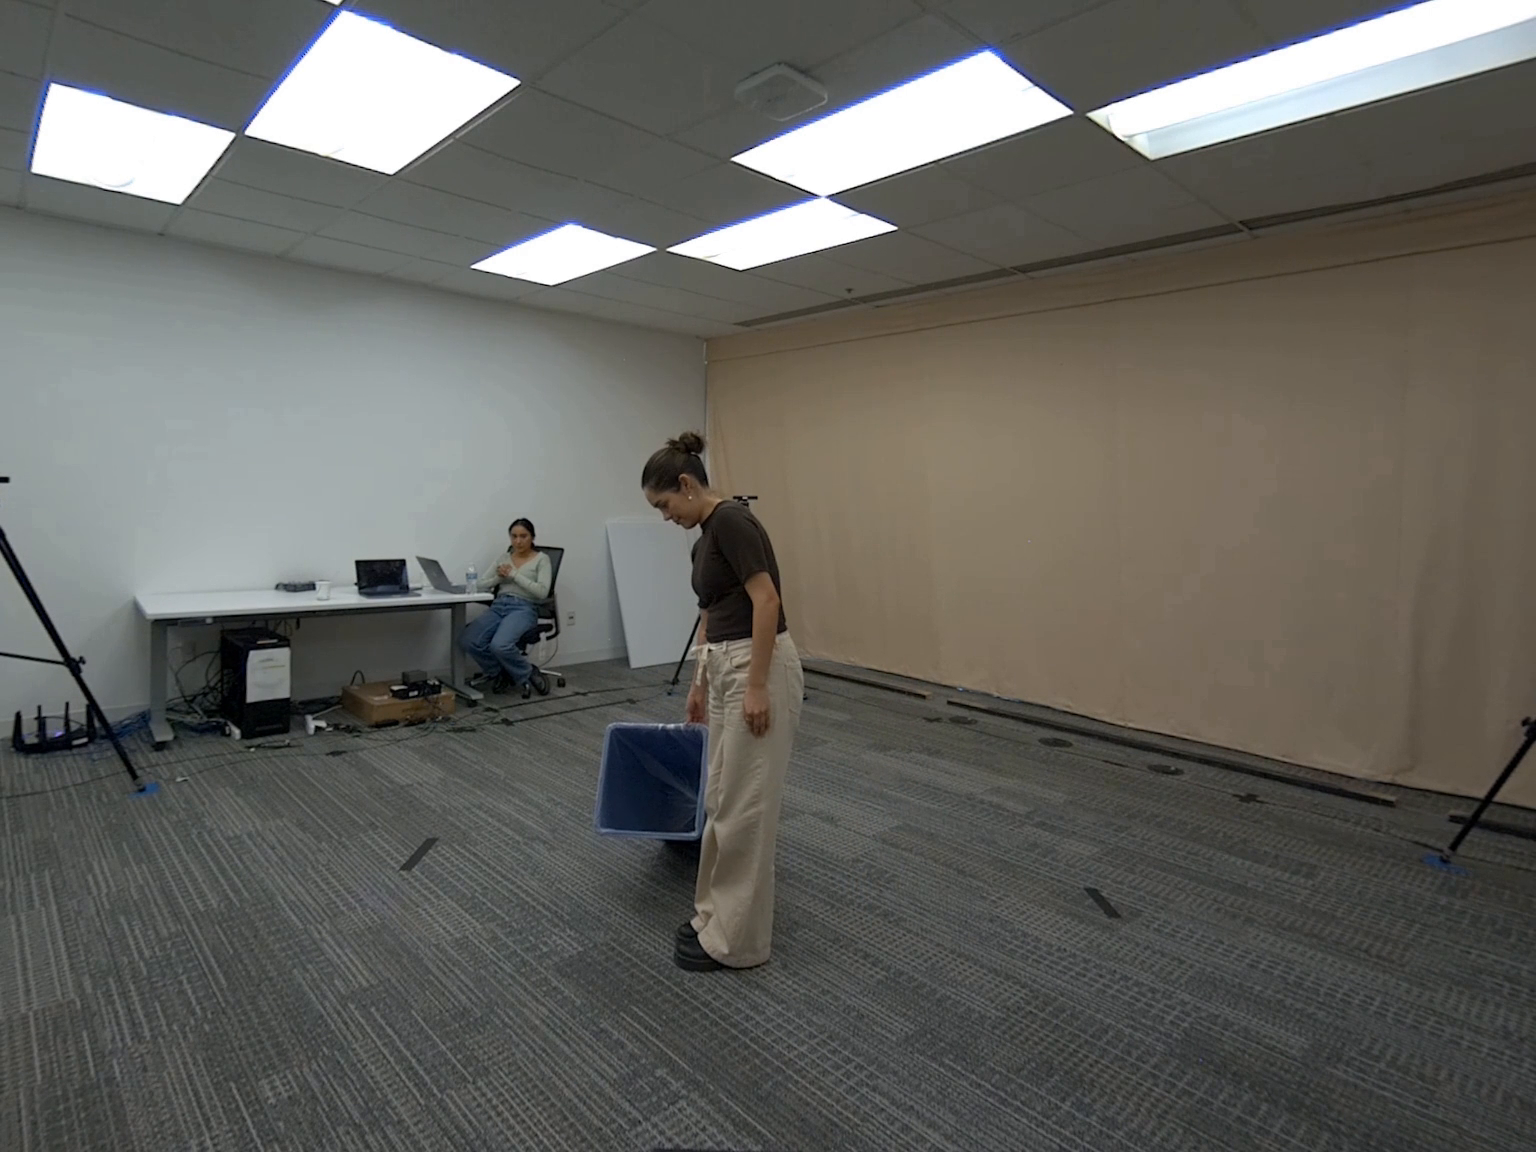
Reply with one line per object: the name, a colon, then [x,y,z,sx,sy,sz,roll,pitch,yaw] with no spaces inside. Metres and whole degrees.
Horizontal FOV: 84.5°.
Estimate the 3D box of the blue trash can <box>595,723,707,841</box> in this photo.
blue trash can: [-0.338,0.804,3.100,0.381,0.379,0.696,-1,-23,10]
